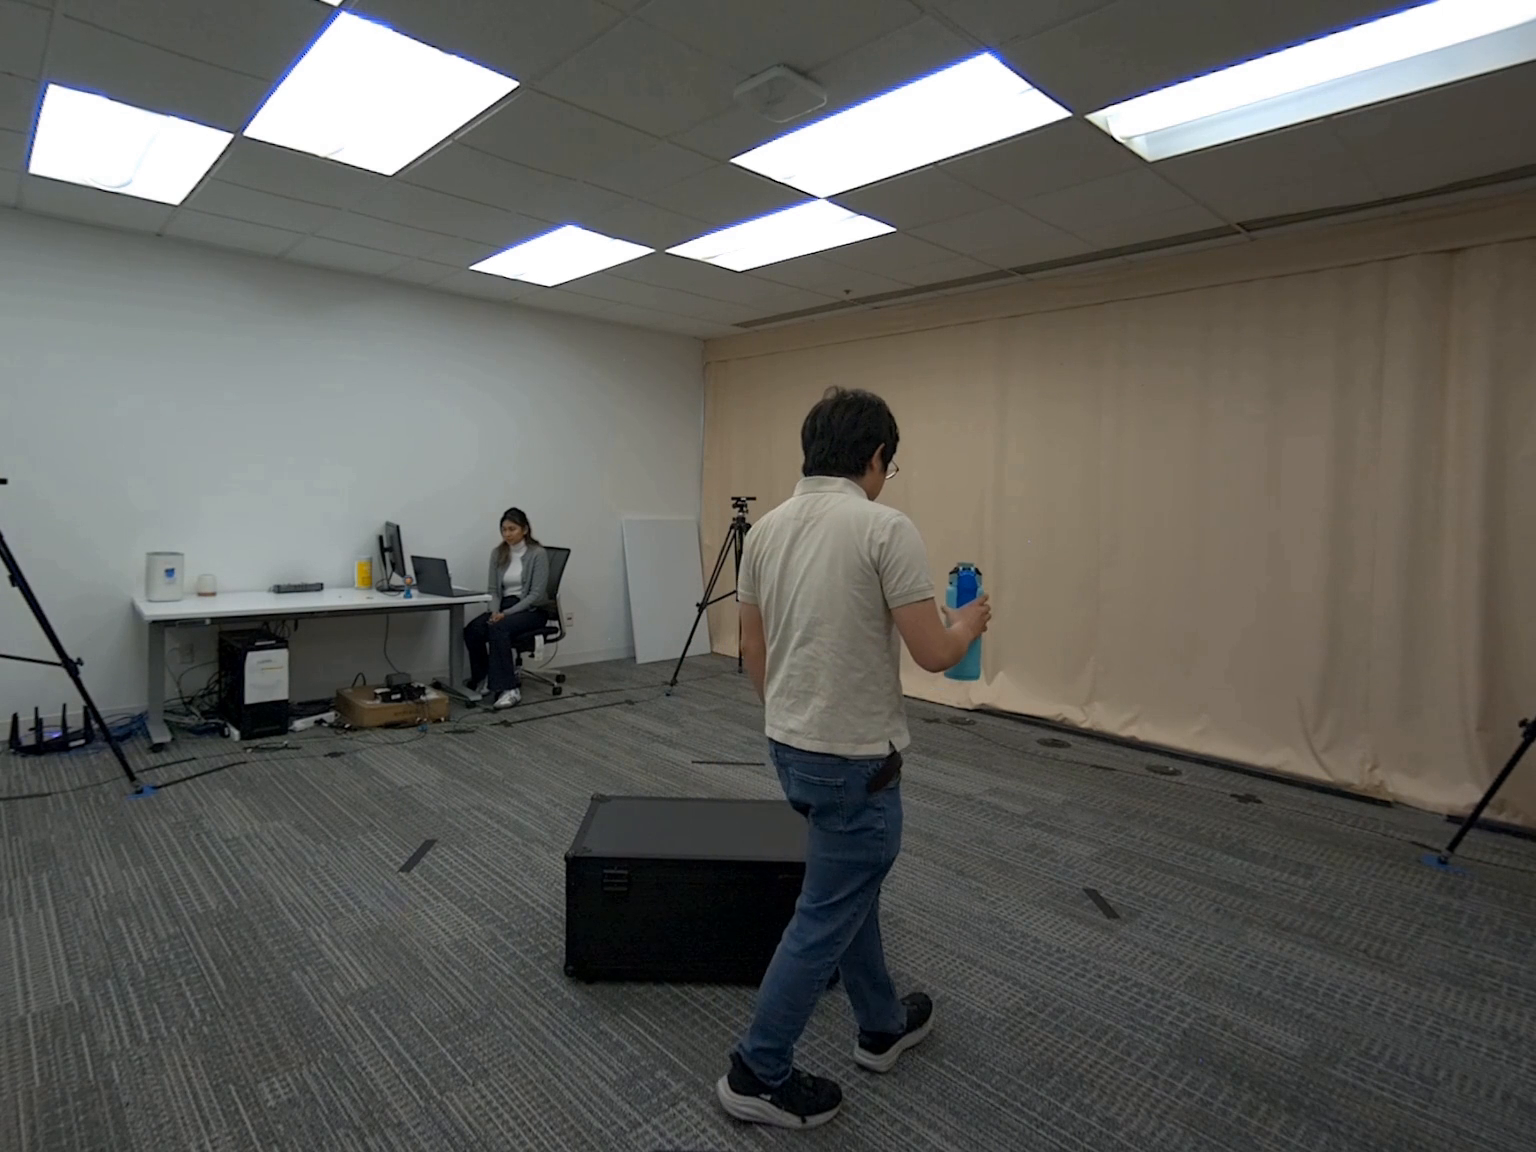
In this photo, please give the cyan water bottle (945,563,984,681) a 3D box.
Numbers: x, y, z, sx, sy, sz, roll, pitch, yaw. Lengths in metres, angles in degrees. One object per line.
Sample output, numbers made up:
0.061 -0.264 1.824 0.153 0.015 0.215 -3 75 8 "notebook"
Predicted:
0.473 0.109 2.057 0.092 0.283 0.092 1 3 -1 "cyan water bottle"
